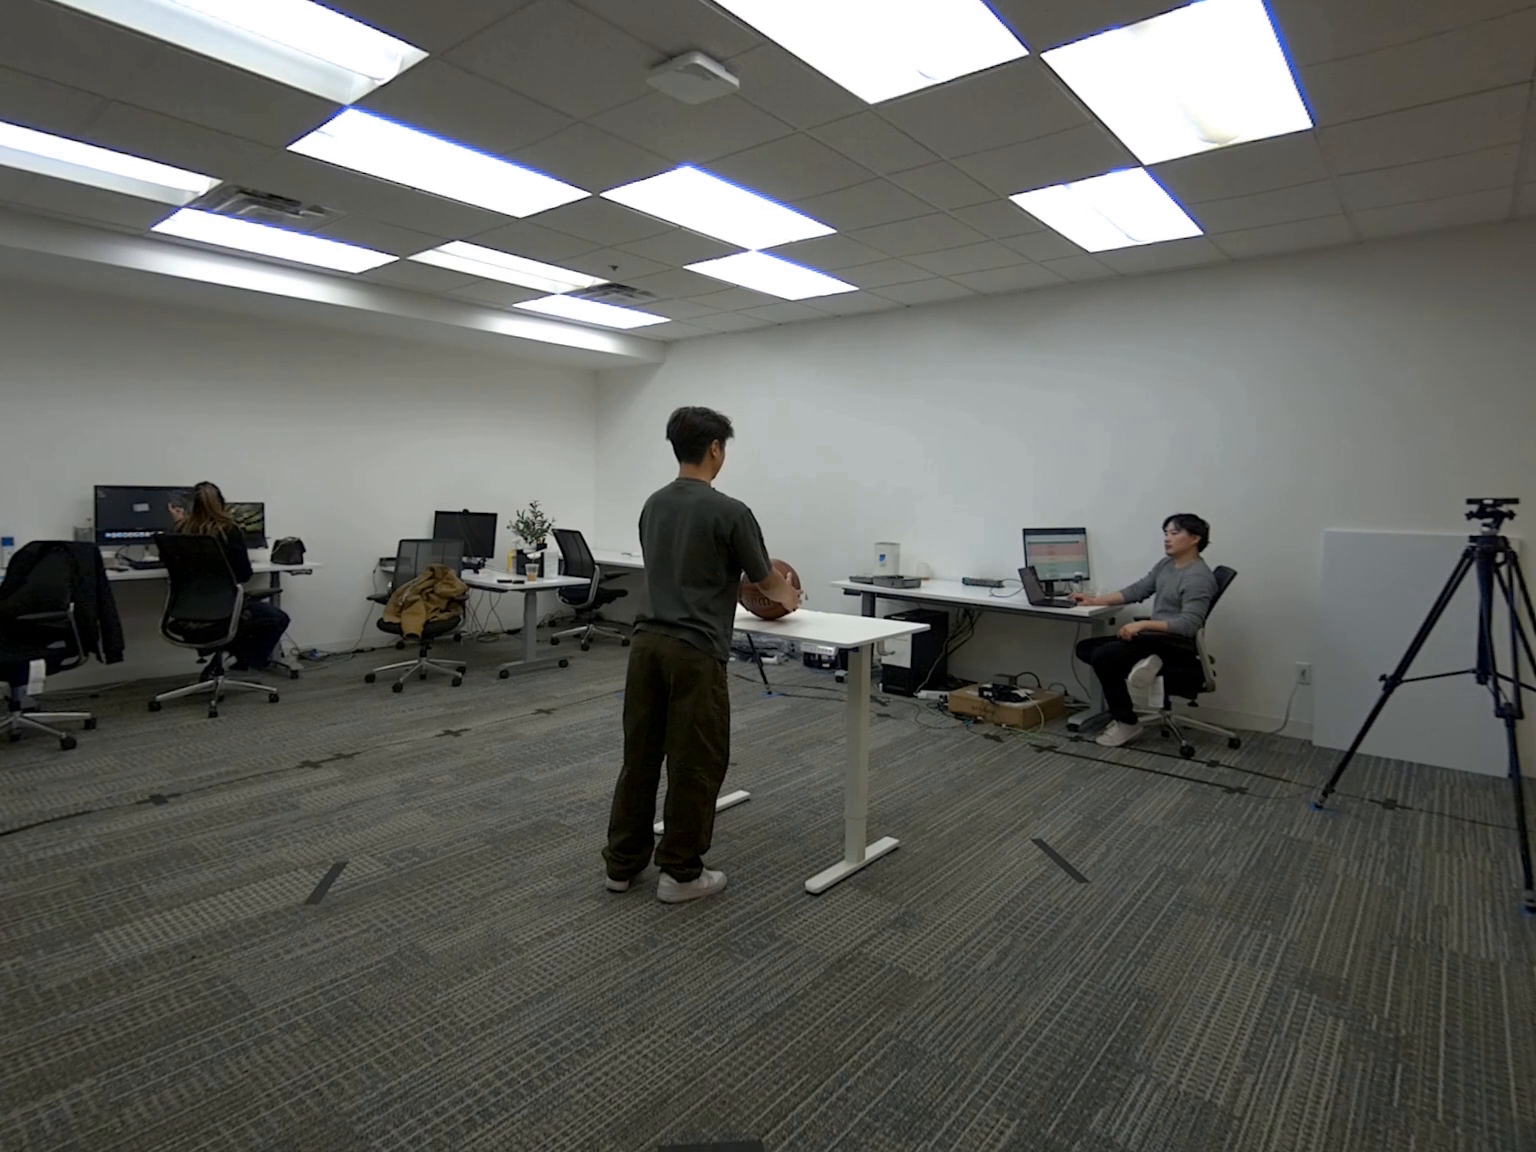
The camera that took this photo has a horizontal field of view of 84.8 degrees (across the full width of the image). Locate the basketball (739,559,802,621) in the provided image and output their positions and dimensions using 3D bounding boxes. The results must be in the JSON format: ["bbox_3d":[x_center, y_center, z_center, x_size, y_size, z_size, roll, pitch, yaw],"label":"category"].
[{"bbox_3d":[-0.001,0.049,3.329,0.235,0.235,0.237,1,4,-2],"label":"basketball"}]
